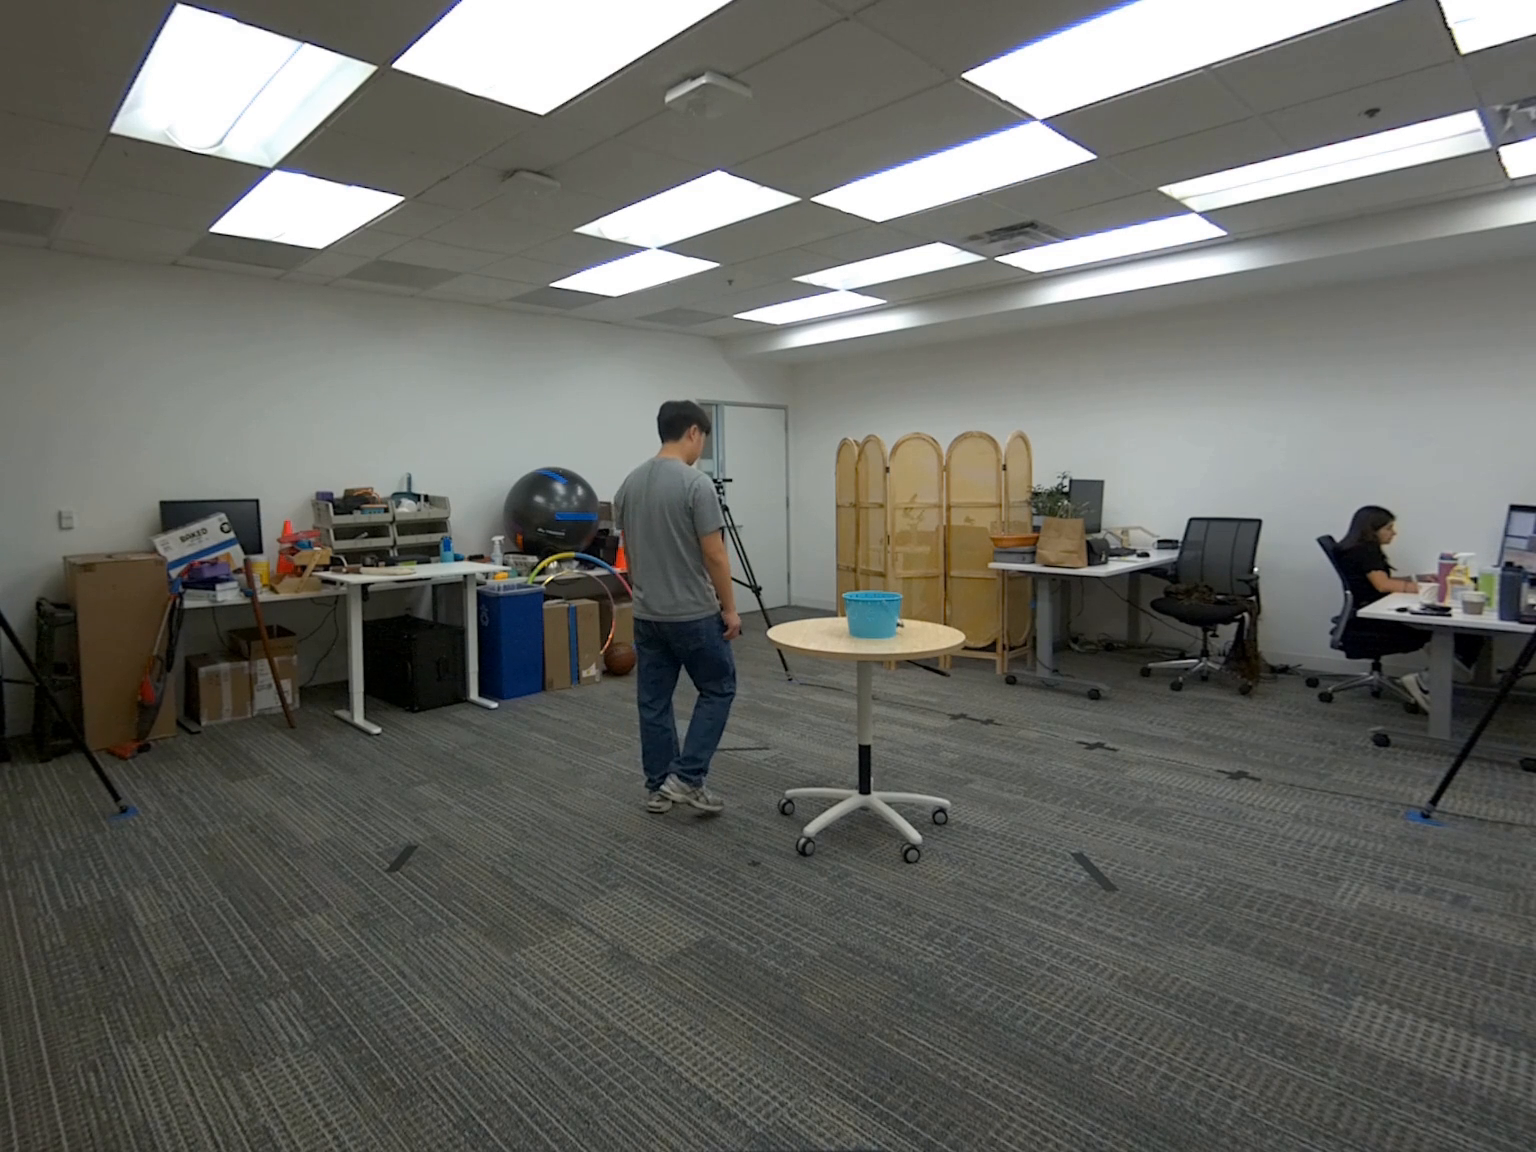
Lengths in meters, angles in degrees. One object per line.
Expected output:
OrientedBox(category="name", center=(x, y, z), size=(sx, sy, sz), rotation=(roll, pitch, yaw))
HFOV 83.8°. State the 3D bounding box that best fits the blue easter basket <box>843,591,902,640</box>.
OrientedBox(category="blue easter basket", center=(0.423, 0.155, 3.336), size=(0.243, 0.155, 0.245), rotation=(-1, 6, -2))
